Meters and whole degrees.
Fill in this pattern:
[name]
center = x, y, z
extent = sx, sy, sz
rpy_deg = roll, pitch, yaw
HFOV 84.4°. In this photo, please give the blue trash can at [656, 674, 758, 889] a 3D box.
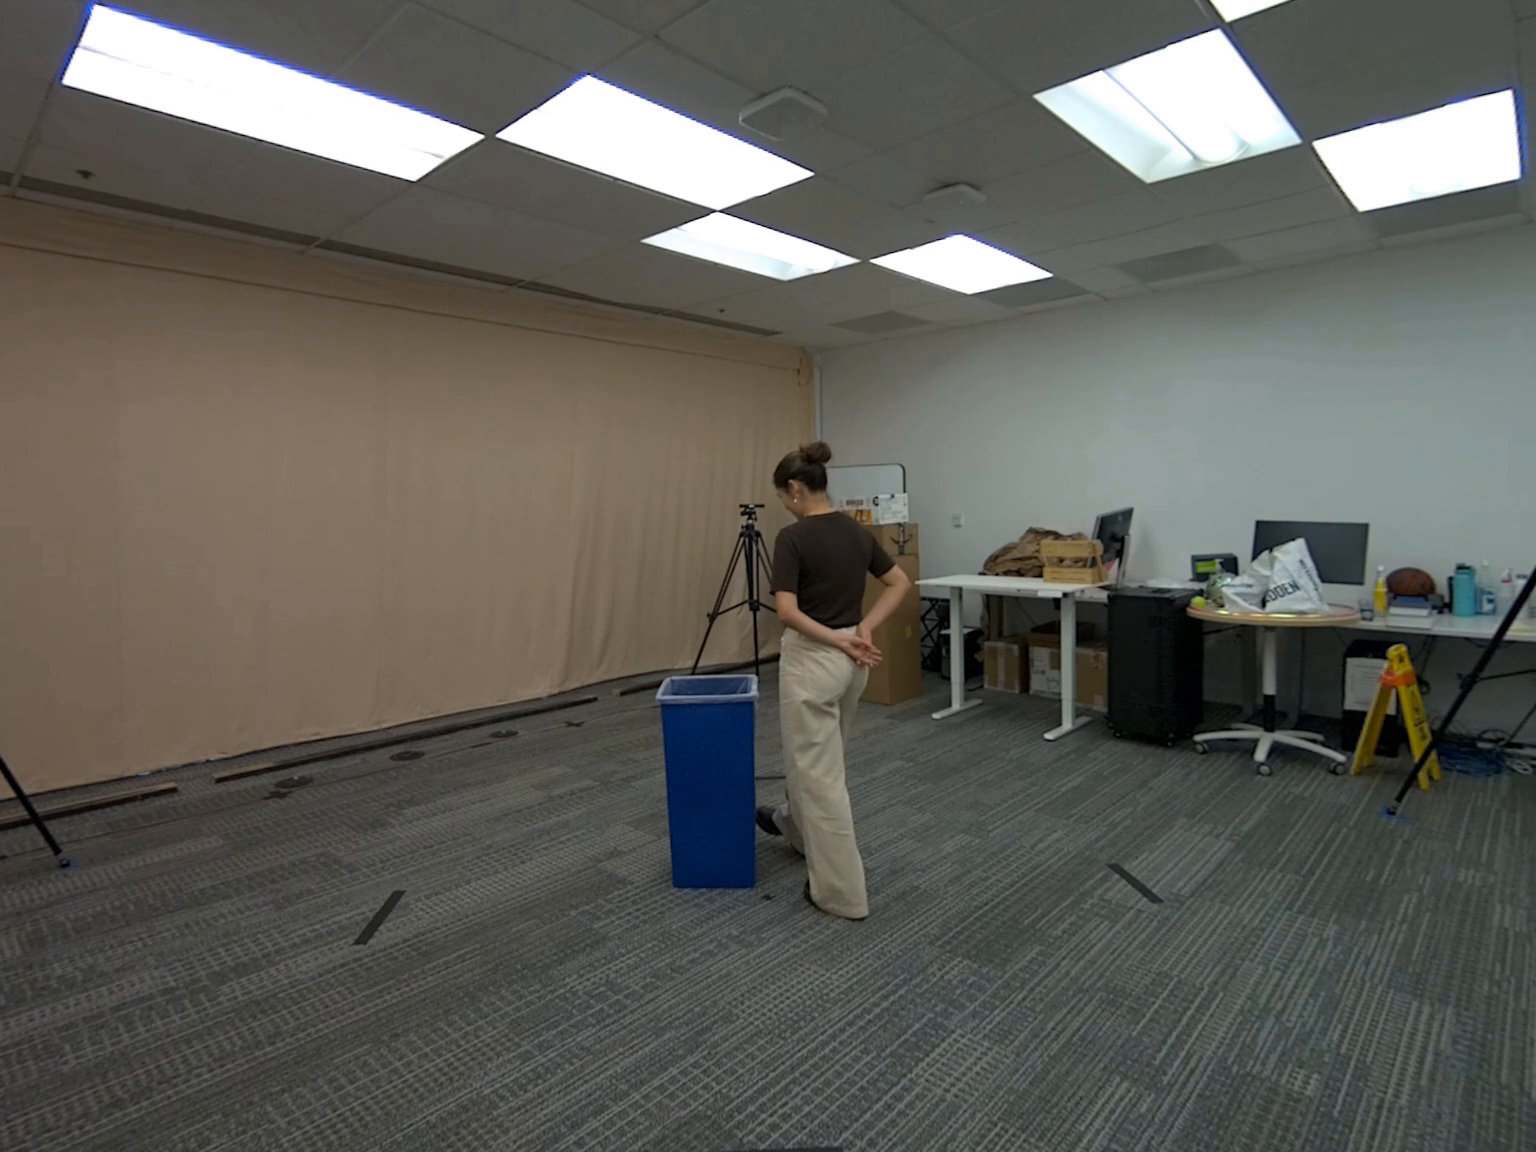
[blue trash can]
center = -0.216, 0.768, 3.201
extent = 0.378, 0.712, 0.375
rpy_deg = -2, 4, 0
